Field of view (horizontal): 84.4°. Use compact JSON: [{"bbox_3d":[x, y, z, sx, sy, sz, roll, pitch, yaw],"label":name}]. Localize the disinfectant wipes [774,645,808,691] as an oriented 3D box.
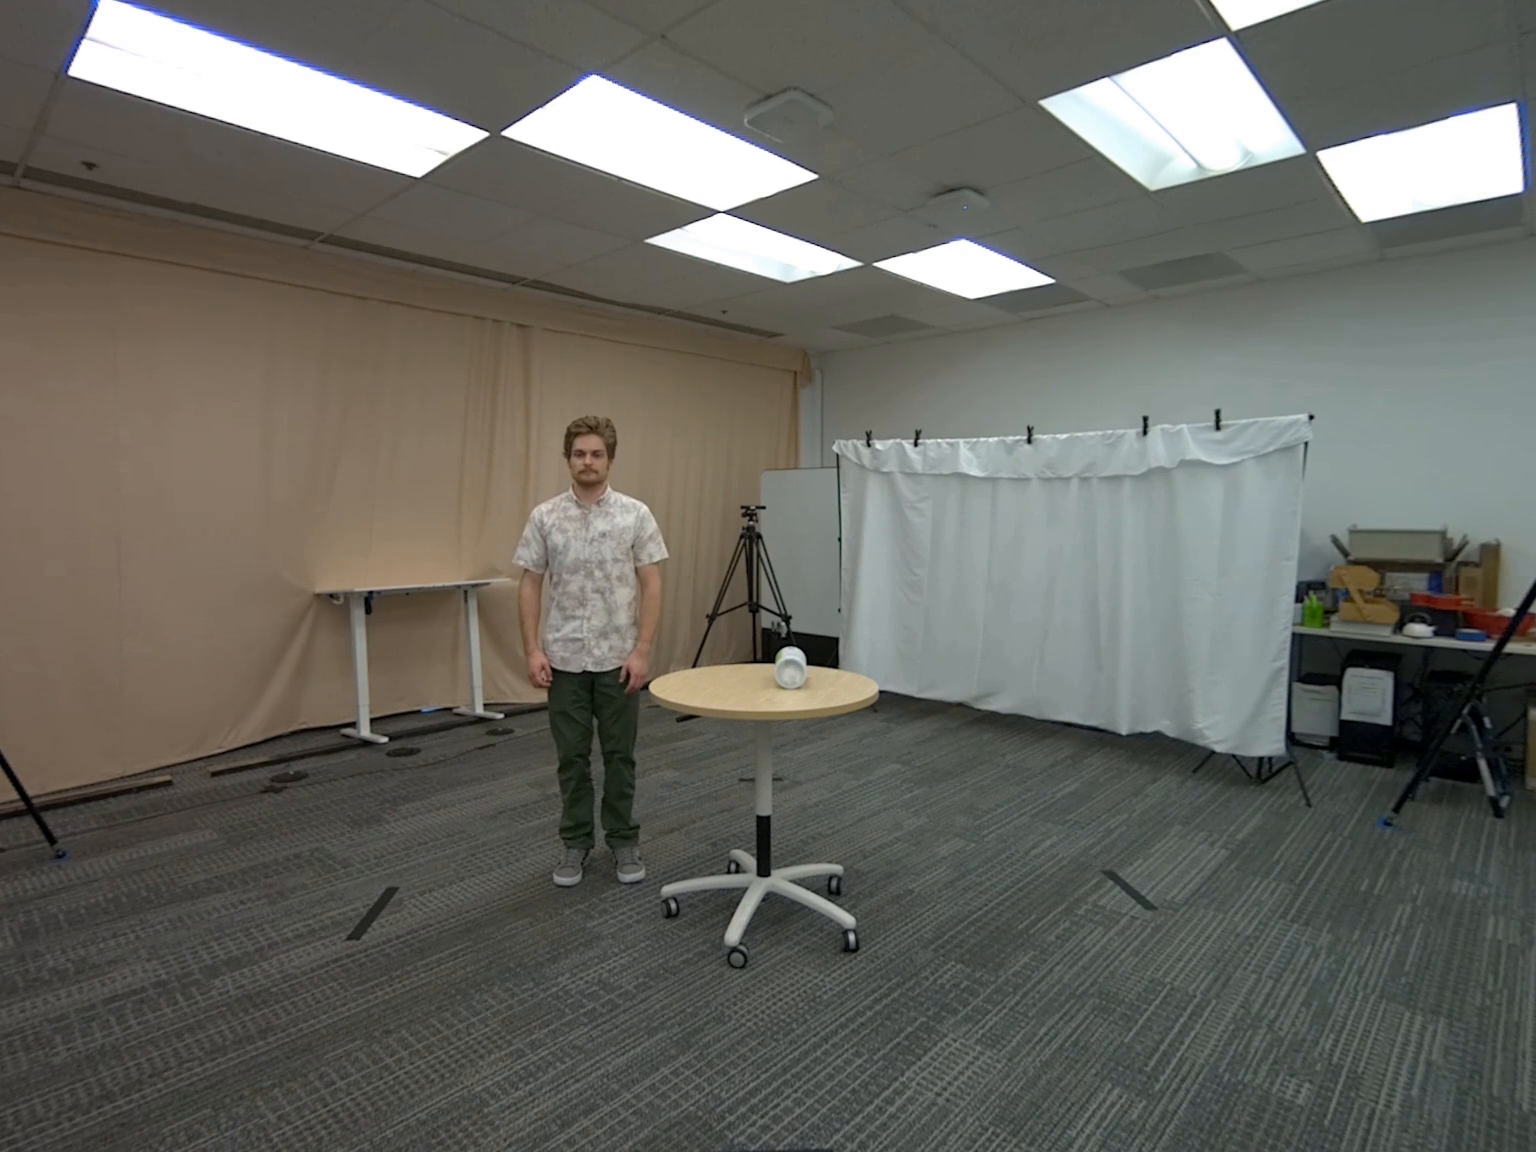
[{"bbox_3d":[0.081,0.307,2.845,0.118,0.117,0.217,0,4,1],"label":"disinfectant wipes"}]
